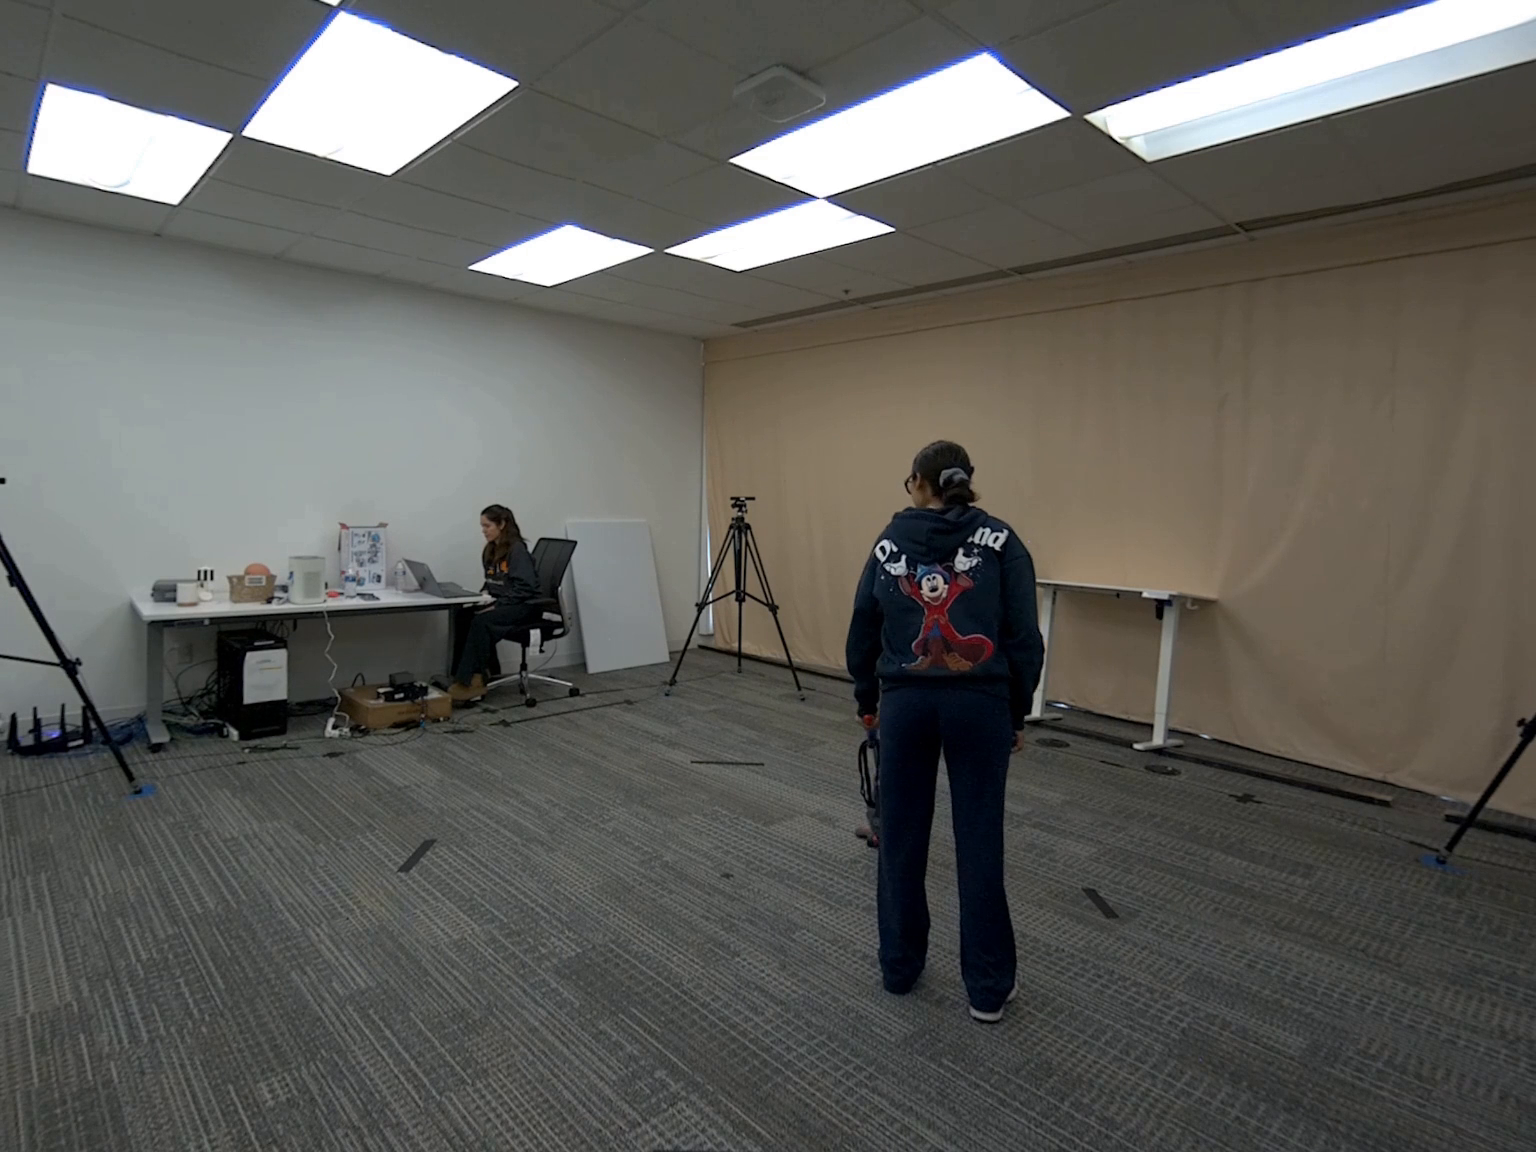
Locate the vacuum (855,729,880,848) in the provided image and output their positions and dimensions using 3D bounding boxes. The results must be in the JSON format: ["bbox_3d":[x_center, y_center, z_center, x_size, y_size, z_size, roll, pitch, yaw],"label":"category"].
[{"bbox_3d":[0.393,0.768,3.045,0.255,0.146,1.021,2,-37,13],"label":"vacuum"}]
